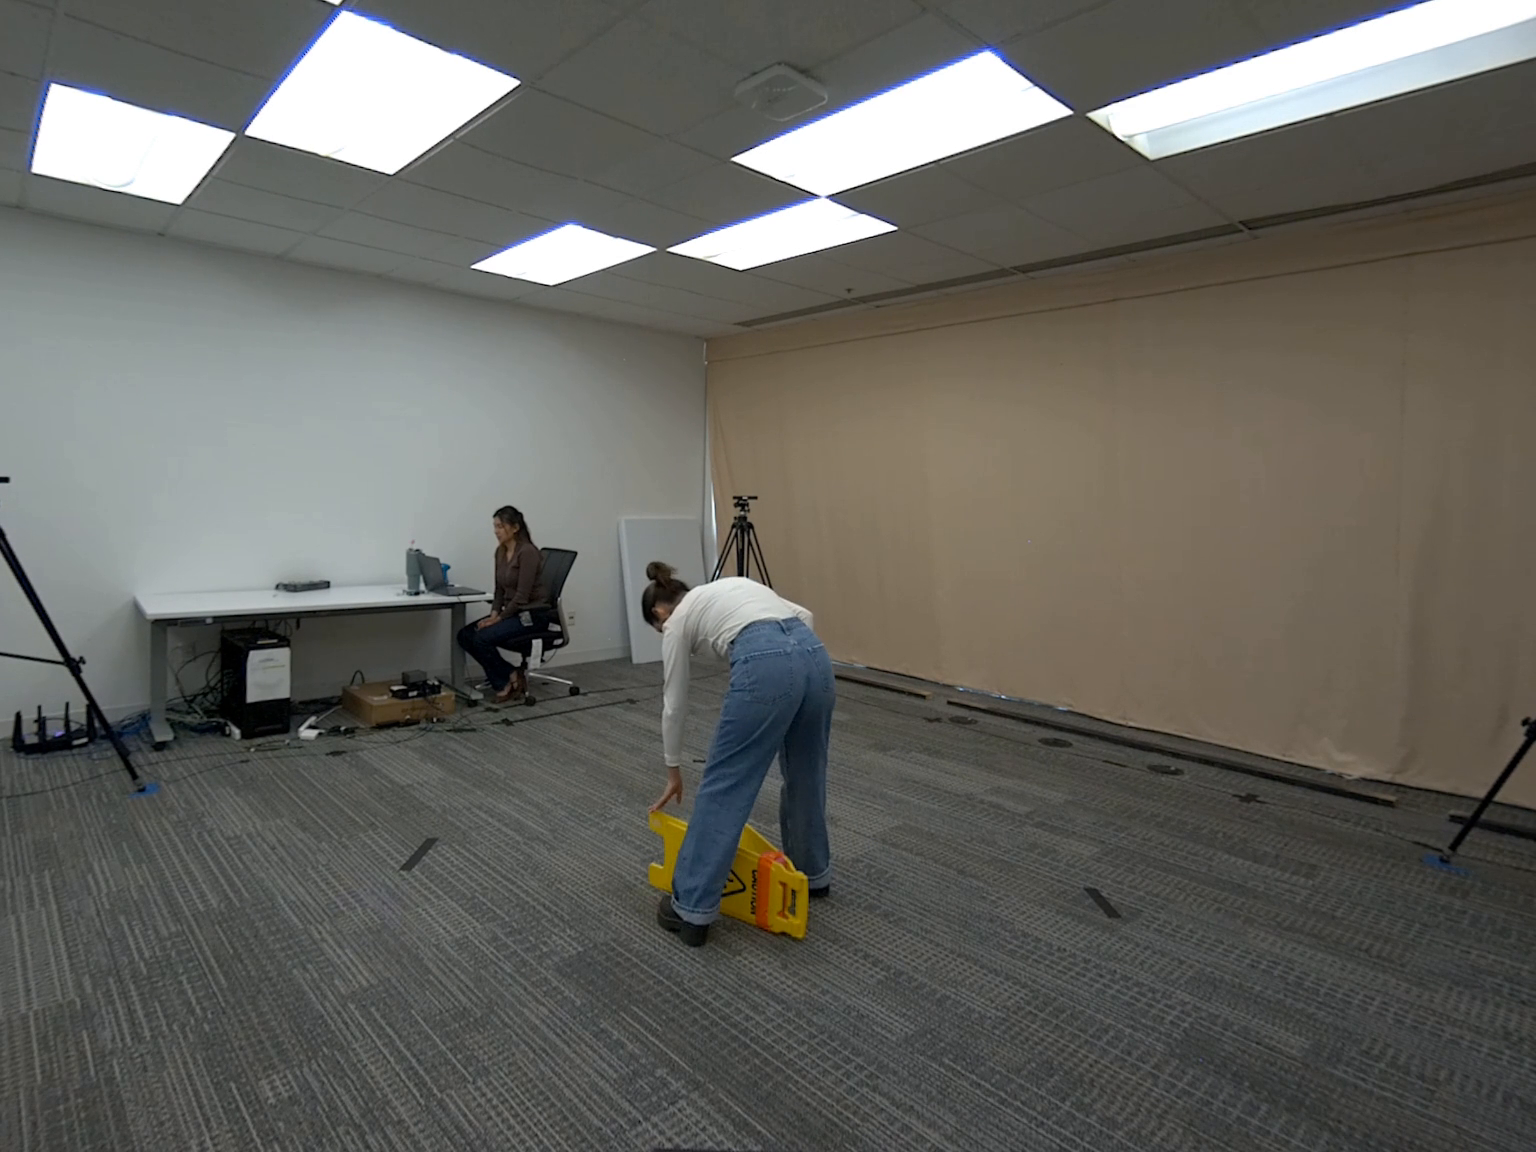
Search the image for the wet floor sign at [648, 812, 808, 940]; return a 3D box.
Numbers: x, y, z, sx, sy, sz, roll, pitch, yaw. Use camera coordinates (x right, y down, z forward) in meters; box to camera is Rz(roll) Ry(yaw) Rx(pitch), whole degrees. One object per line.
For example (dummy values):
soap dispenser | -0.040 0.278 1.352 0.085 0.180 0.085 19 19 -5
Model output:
wet floor sign | -0.110 0.996 2.856 0.283 0.281 0.663 -4 8 -42
